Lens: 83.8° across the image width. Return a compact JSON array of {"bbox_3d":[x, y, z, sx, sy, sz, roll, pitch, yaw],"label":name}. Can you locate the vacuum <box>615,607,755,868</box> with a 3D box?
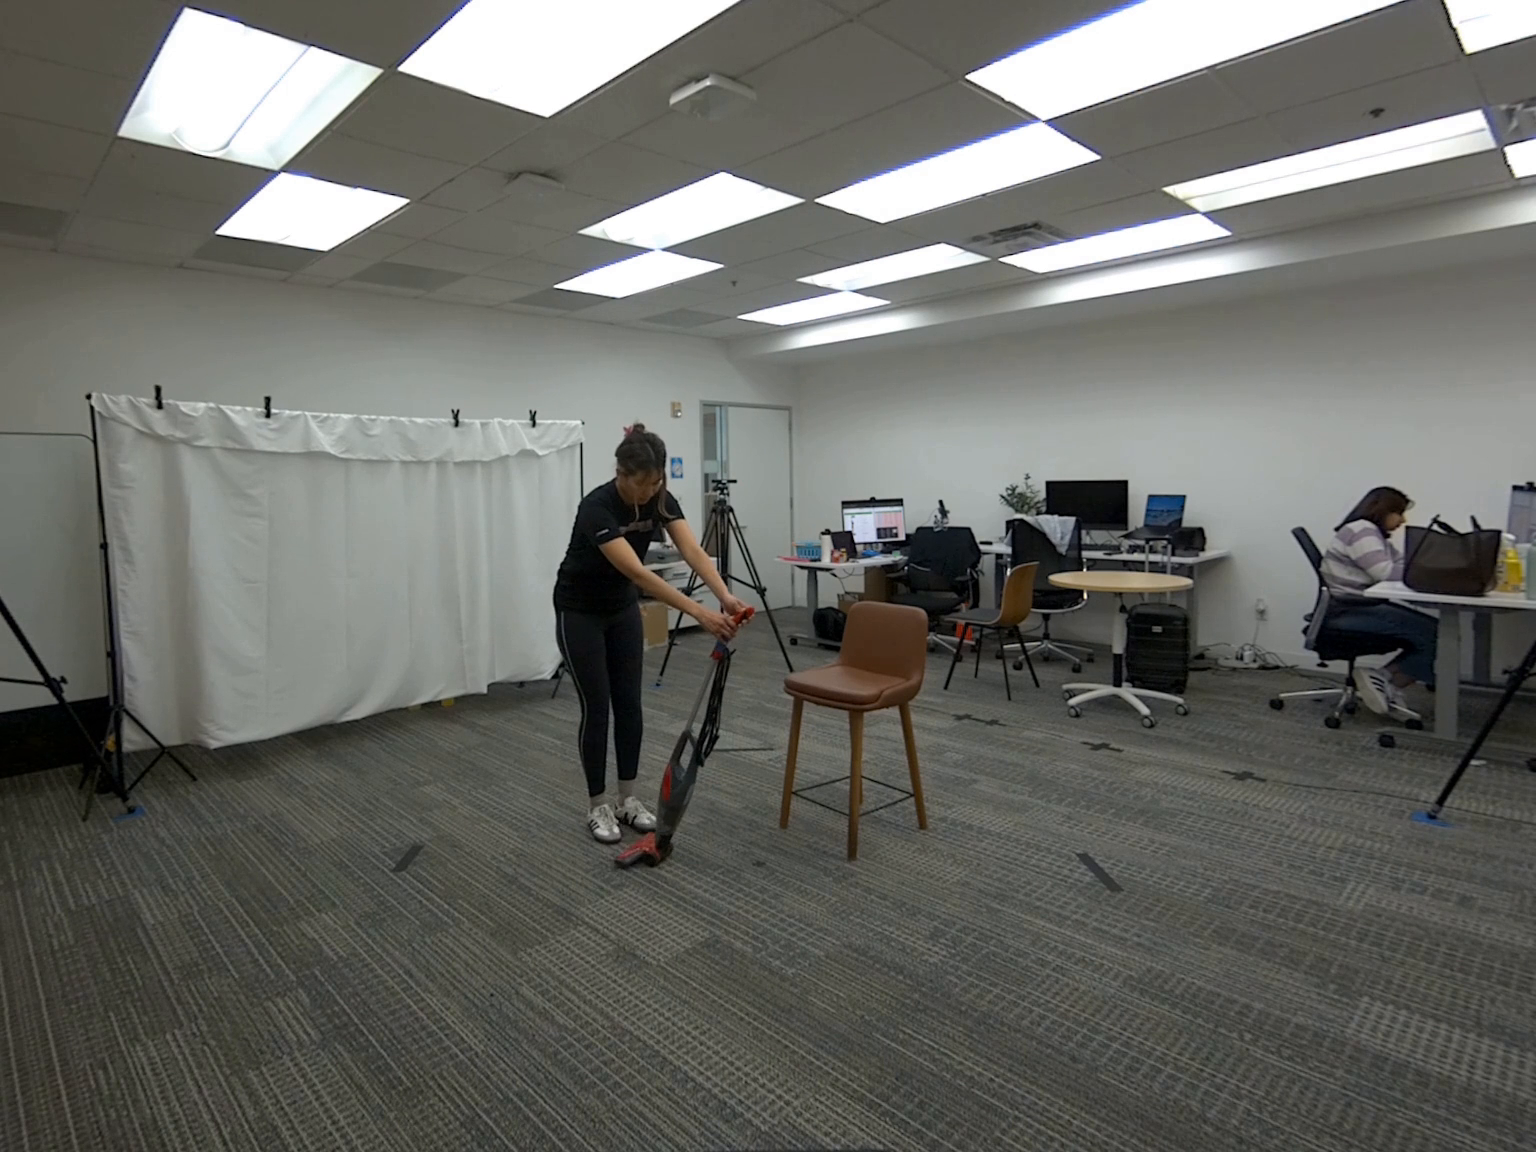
[{"bbox_3d":[-0.251,0.580,3.037,0.148,1.042,0.247,30,17,22],"label":"vacuum"}]
